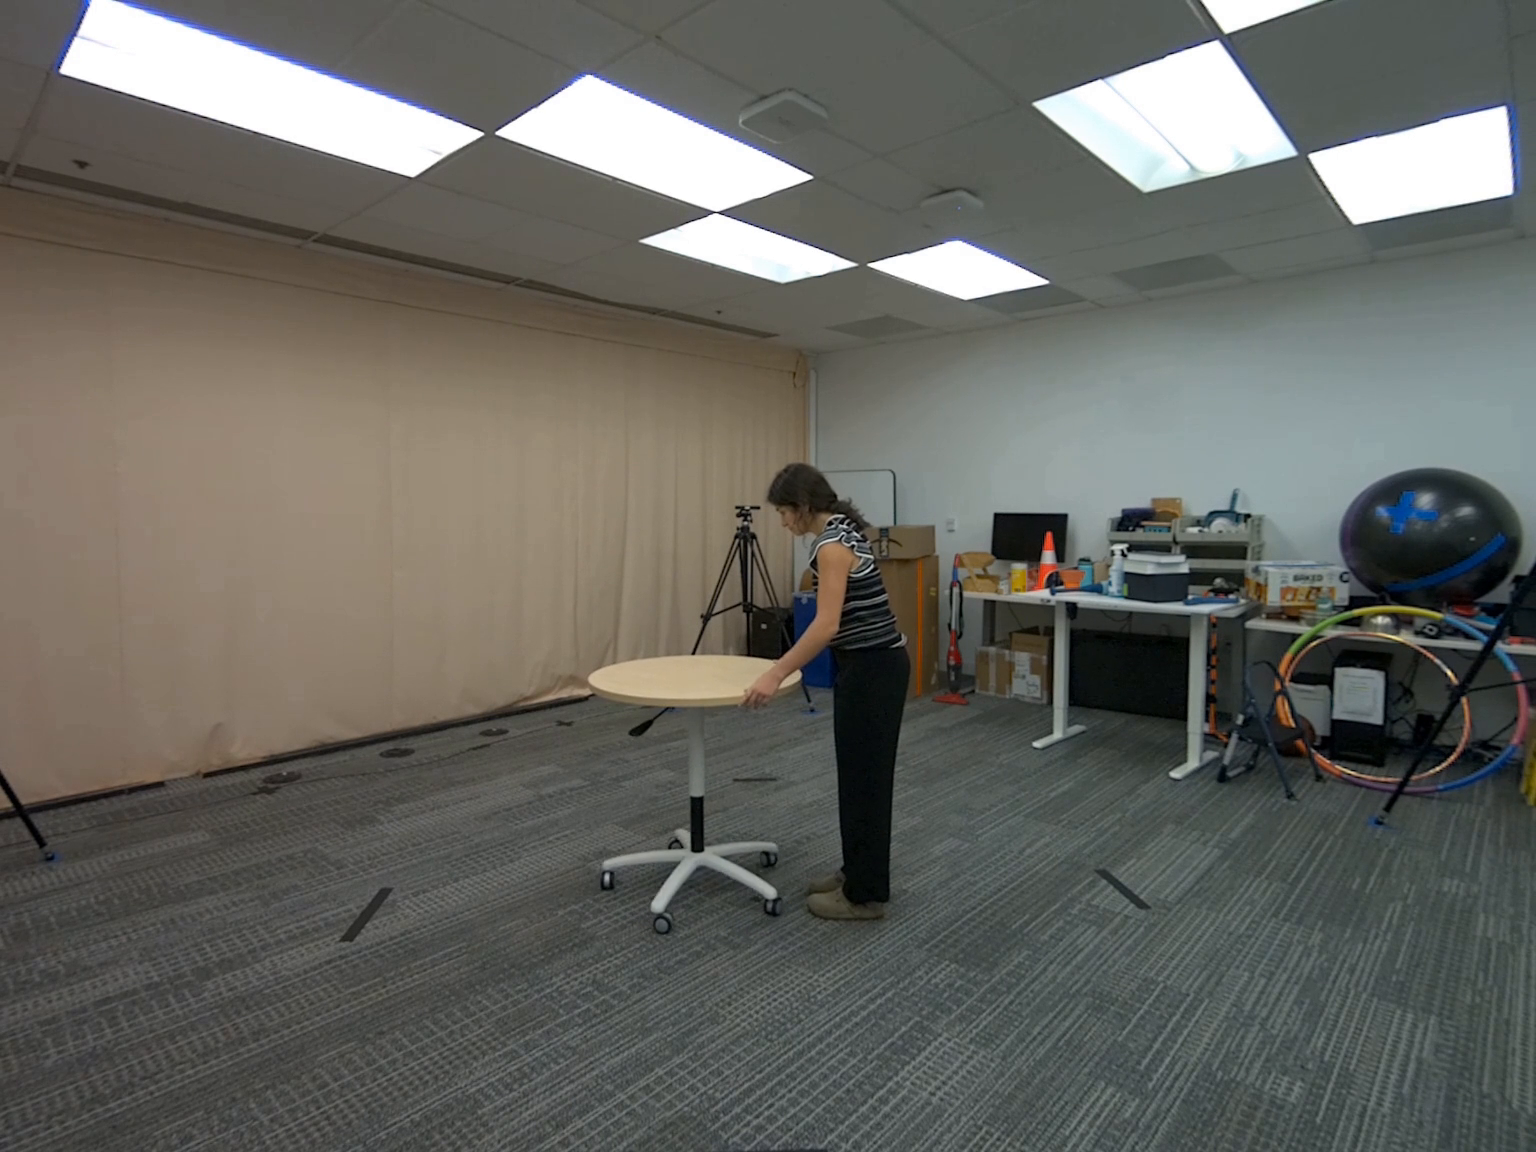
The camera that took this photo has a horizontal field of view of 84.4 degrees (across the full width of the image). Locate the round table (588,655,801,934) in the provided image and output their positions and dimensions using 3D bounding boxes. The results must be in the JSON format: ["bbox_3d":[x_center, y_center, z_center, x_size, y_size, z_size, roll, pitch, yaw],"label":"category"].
[{"bbox_3d":[-0.259,0.746,3.066,0.784,0.784,0.788,0,4,-2],"label":"round table"}]
